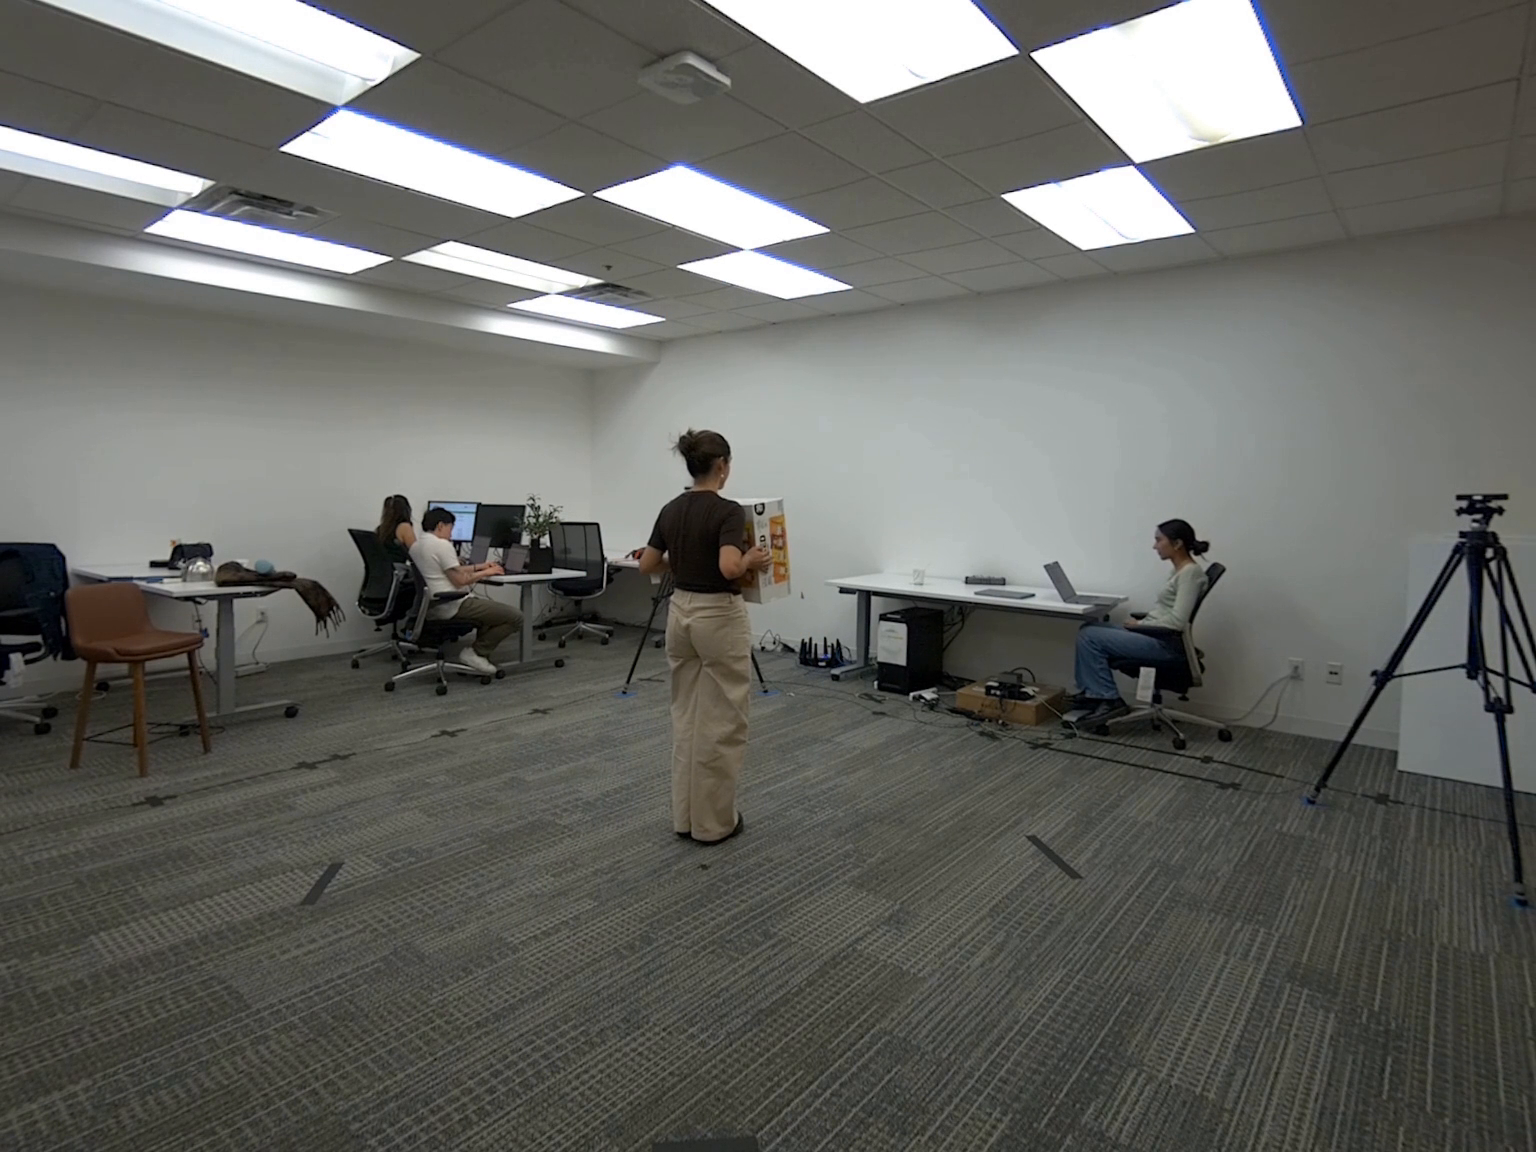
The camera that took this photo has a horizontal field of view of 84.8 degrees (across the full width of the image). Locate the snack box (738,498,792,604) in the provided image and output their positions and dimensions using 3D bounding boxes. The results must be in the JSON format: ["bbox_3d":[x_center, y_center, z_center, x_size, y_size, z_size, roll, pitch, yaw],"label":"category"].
[{"bbox_3d":[-0.121,-0.118,3.571,0.352,0.402,0.201,3,11,42],"label":"snack box"}]
